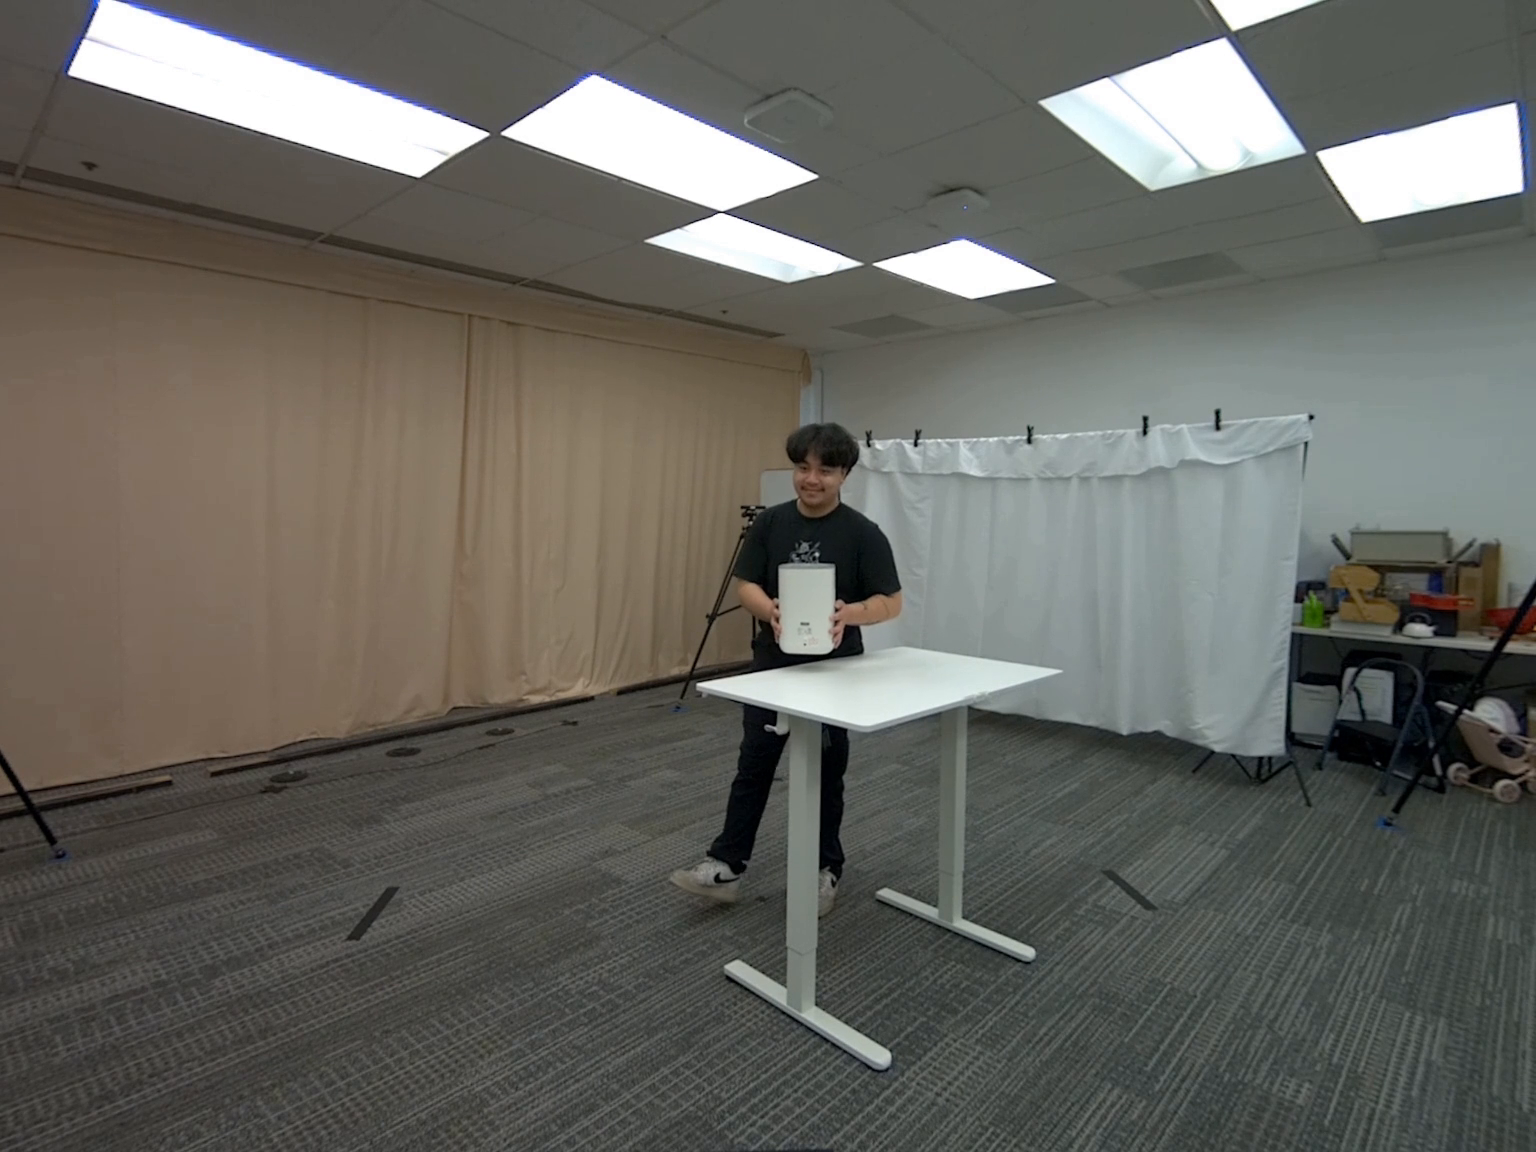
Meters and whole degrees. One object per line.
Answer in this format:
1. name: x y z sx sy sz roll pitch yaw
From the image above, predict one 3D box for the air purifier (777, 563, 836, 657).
1. air purifier: 0.113 0.099 2.595 0.172 0.265 0.171 1 3 5
